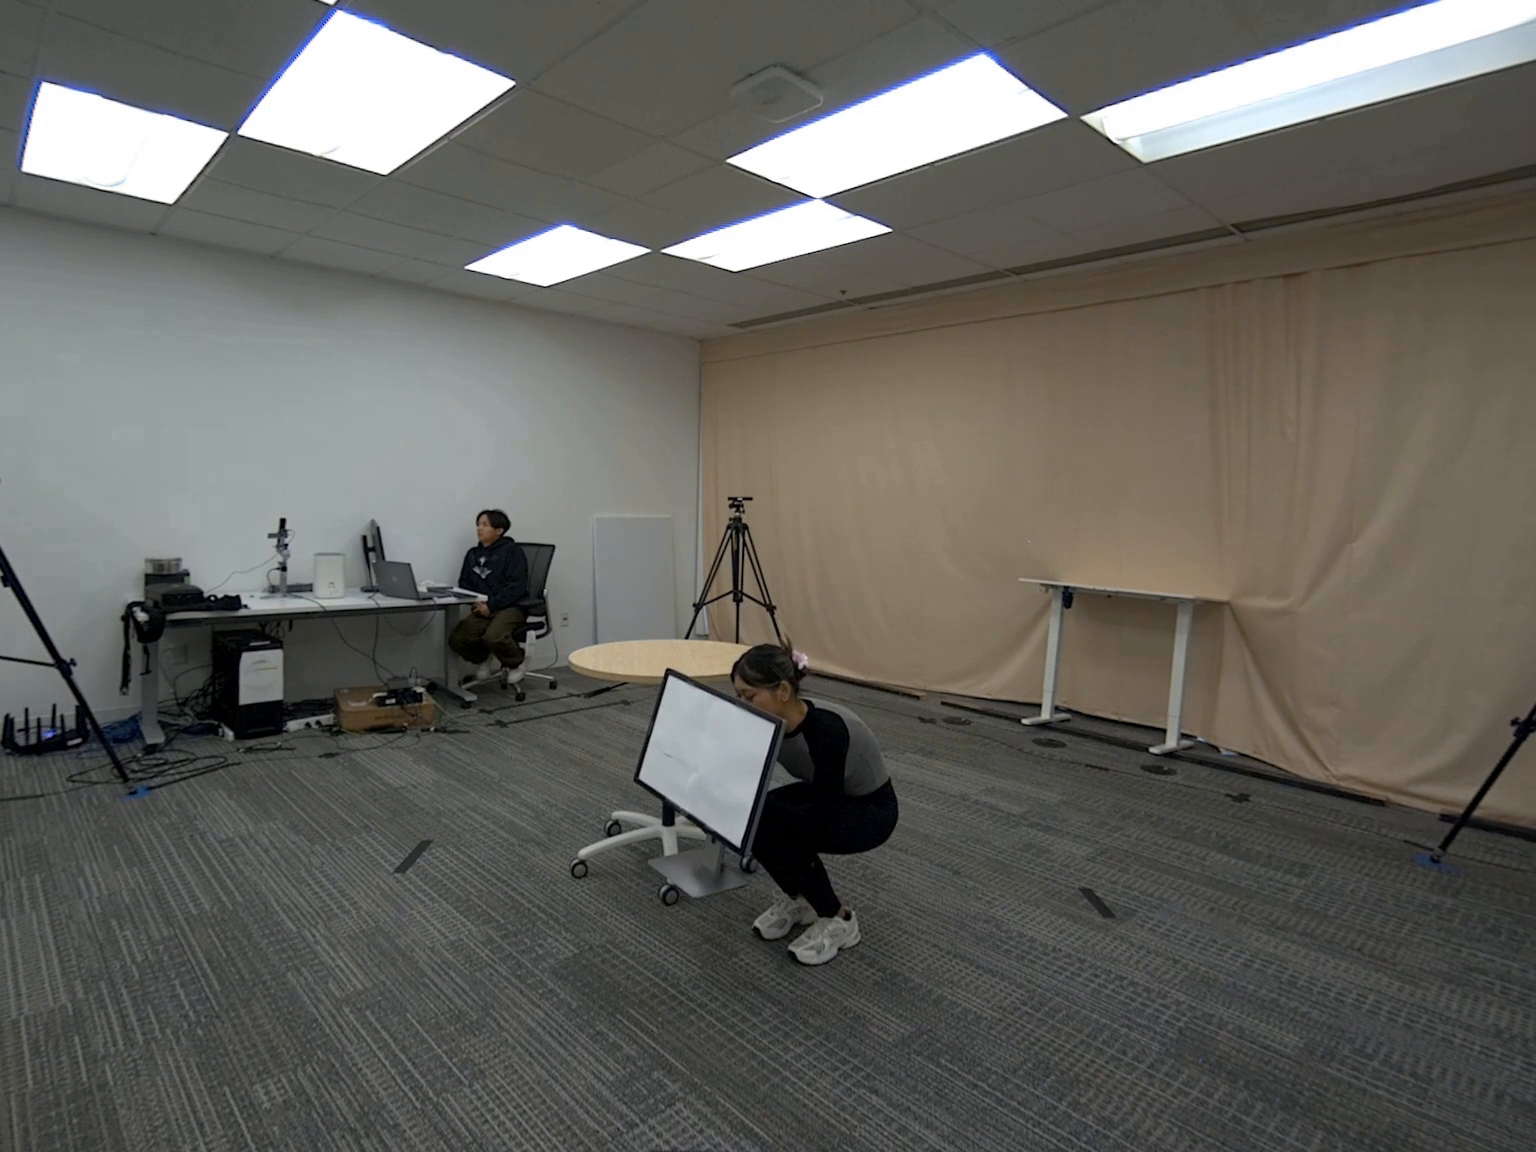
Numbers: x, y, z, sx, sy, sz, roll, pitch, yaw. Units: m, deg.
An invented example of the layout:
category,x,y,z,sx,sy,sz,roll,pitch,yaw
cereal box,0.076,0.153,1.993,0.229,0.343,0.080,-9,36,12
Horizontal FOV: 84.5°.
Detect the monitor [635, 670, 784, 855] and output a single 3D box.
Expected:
category,x,y,z,sx,sy,sz,roll,pitch,yaw
monitor,-0.174,0.602,2.415,0.182,0.521,0.554,2,7,-40
